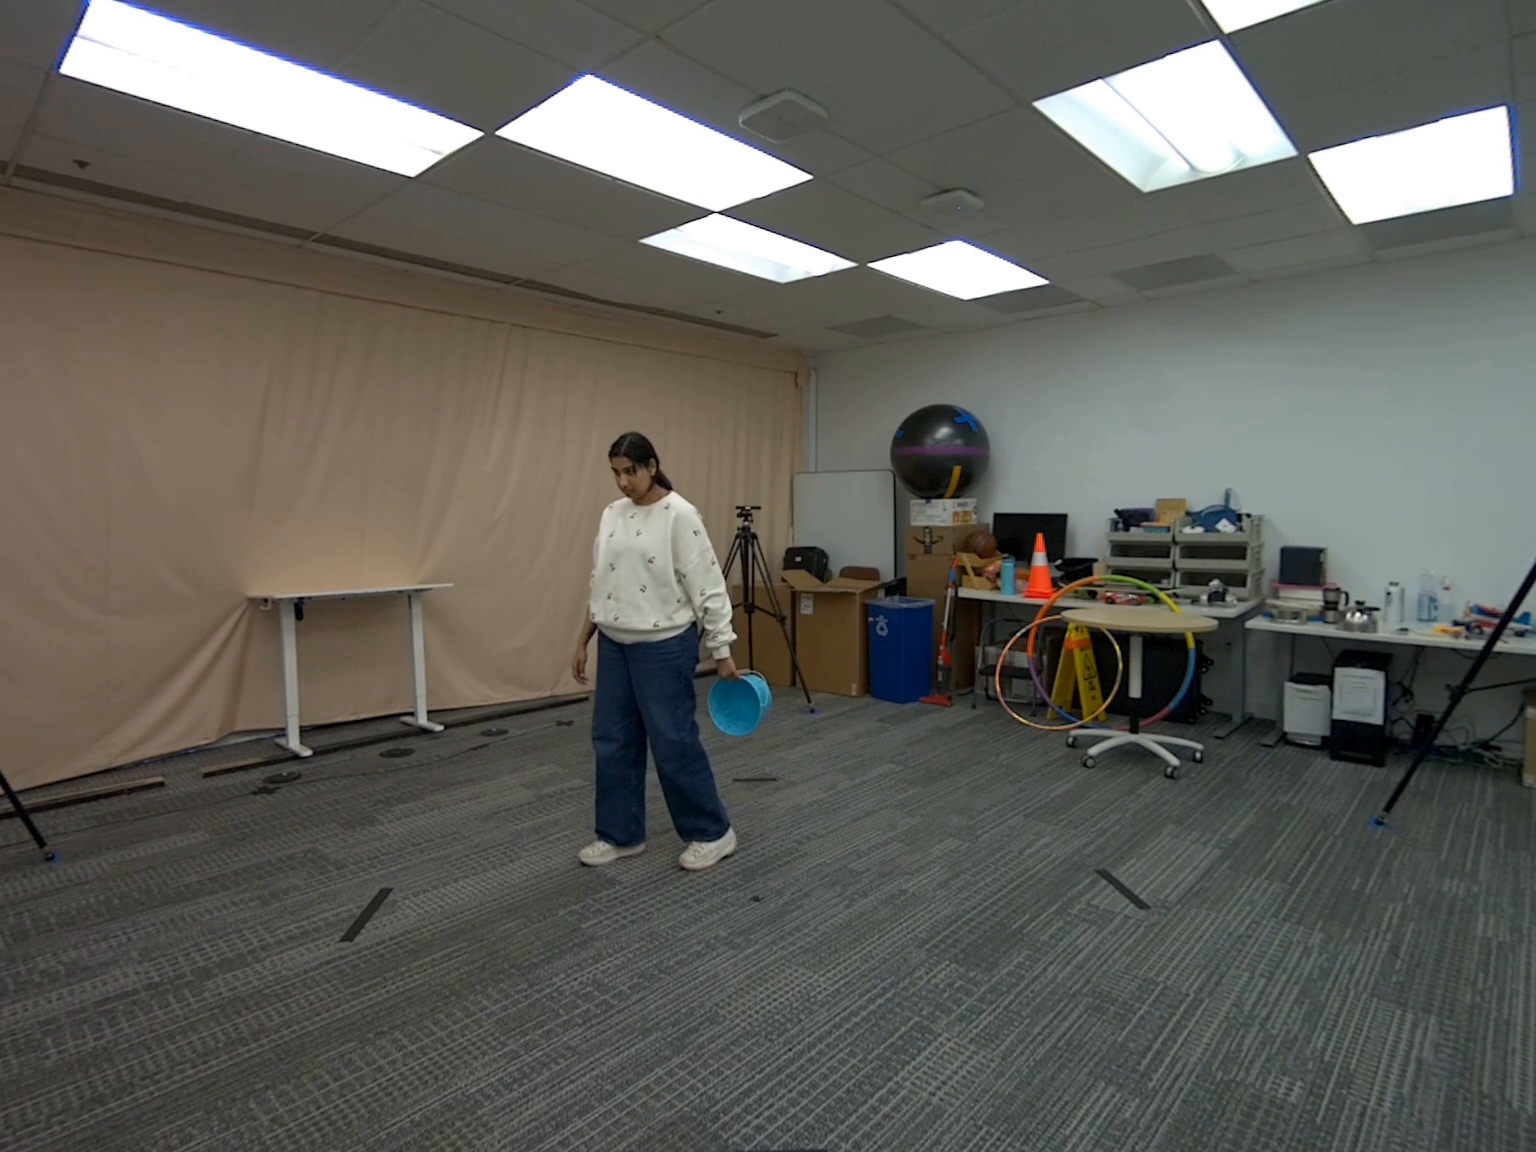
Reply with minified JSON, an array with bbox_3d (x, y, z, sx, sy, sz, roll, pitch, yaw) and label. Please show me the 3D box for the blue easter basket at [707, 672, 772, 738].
[{"bbox_3d":[-0.102,0.489,3.250,0.250,0.243,0.152,2,4,26],"label":"blue easter basket"}]
